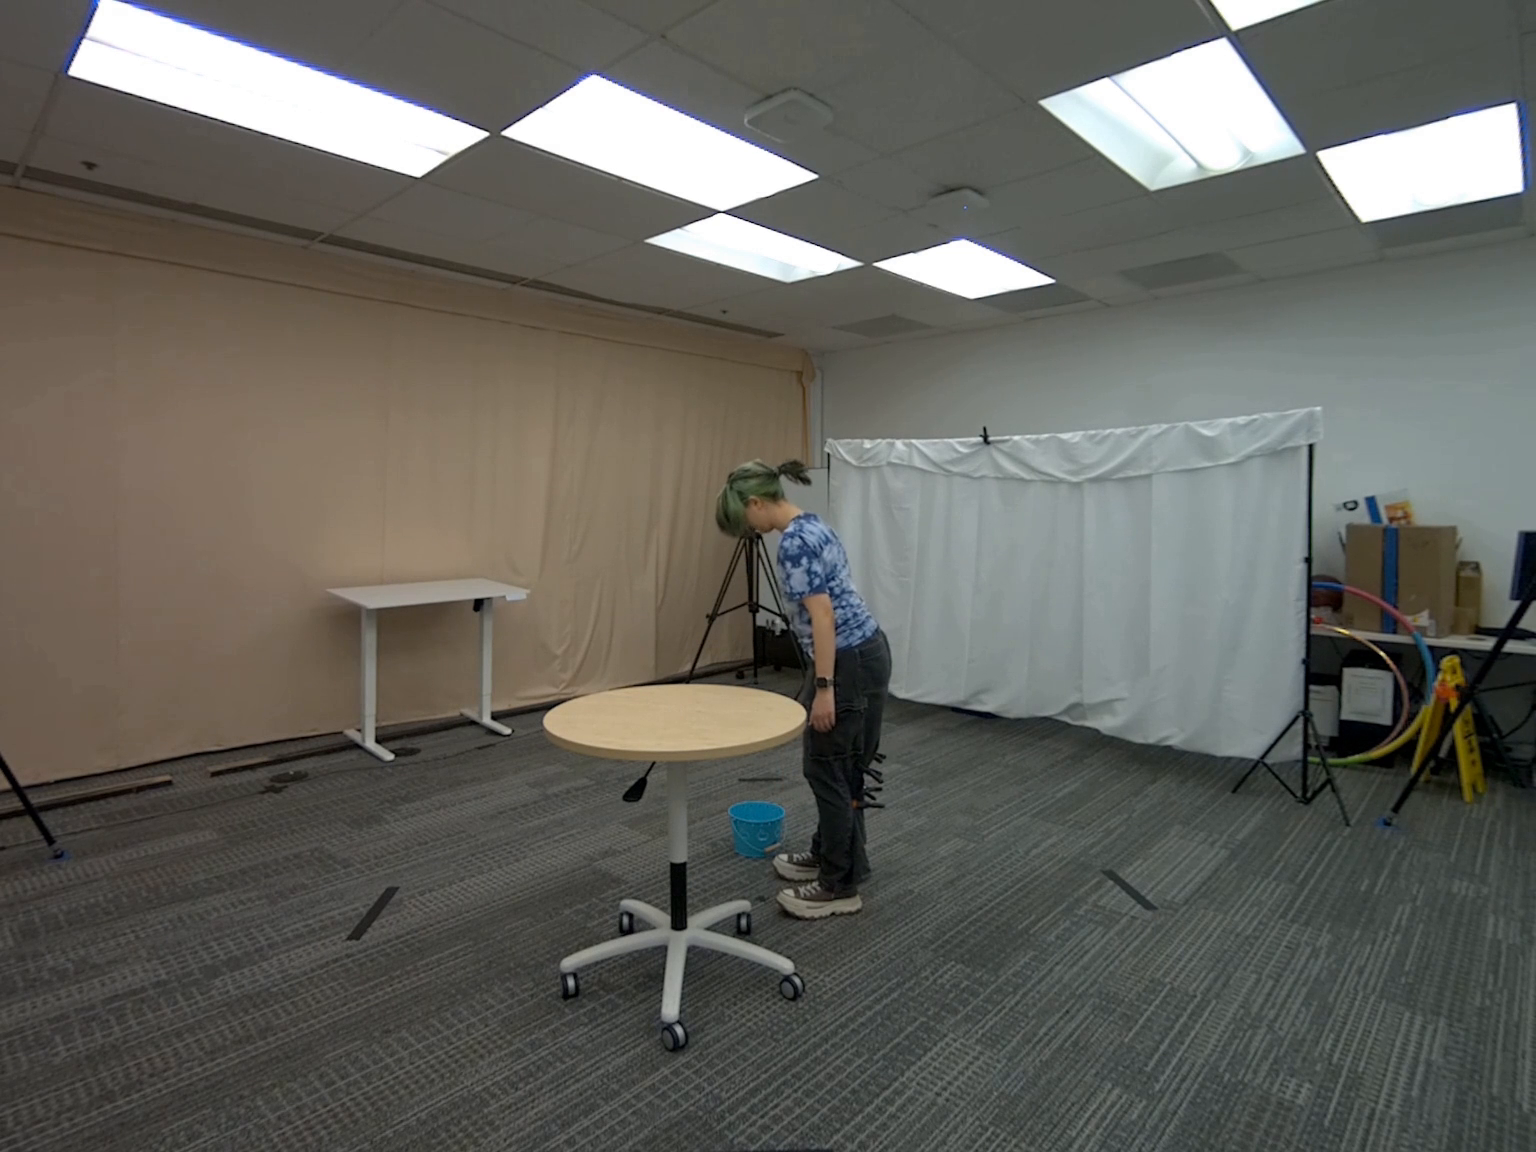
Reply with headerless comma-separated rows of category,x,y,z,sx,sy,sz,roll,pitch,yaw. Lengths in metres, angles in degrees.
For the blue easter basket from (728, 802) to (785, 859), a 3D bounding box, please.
blue easter basket,-0.047,1.028,3.416,0.243,0.155,0.244,0,4,-2
